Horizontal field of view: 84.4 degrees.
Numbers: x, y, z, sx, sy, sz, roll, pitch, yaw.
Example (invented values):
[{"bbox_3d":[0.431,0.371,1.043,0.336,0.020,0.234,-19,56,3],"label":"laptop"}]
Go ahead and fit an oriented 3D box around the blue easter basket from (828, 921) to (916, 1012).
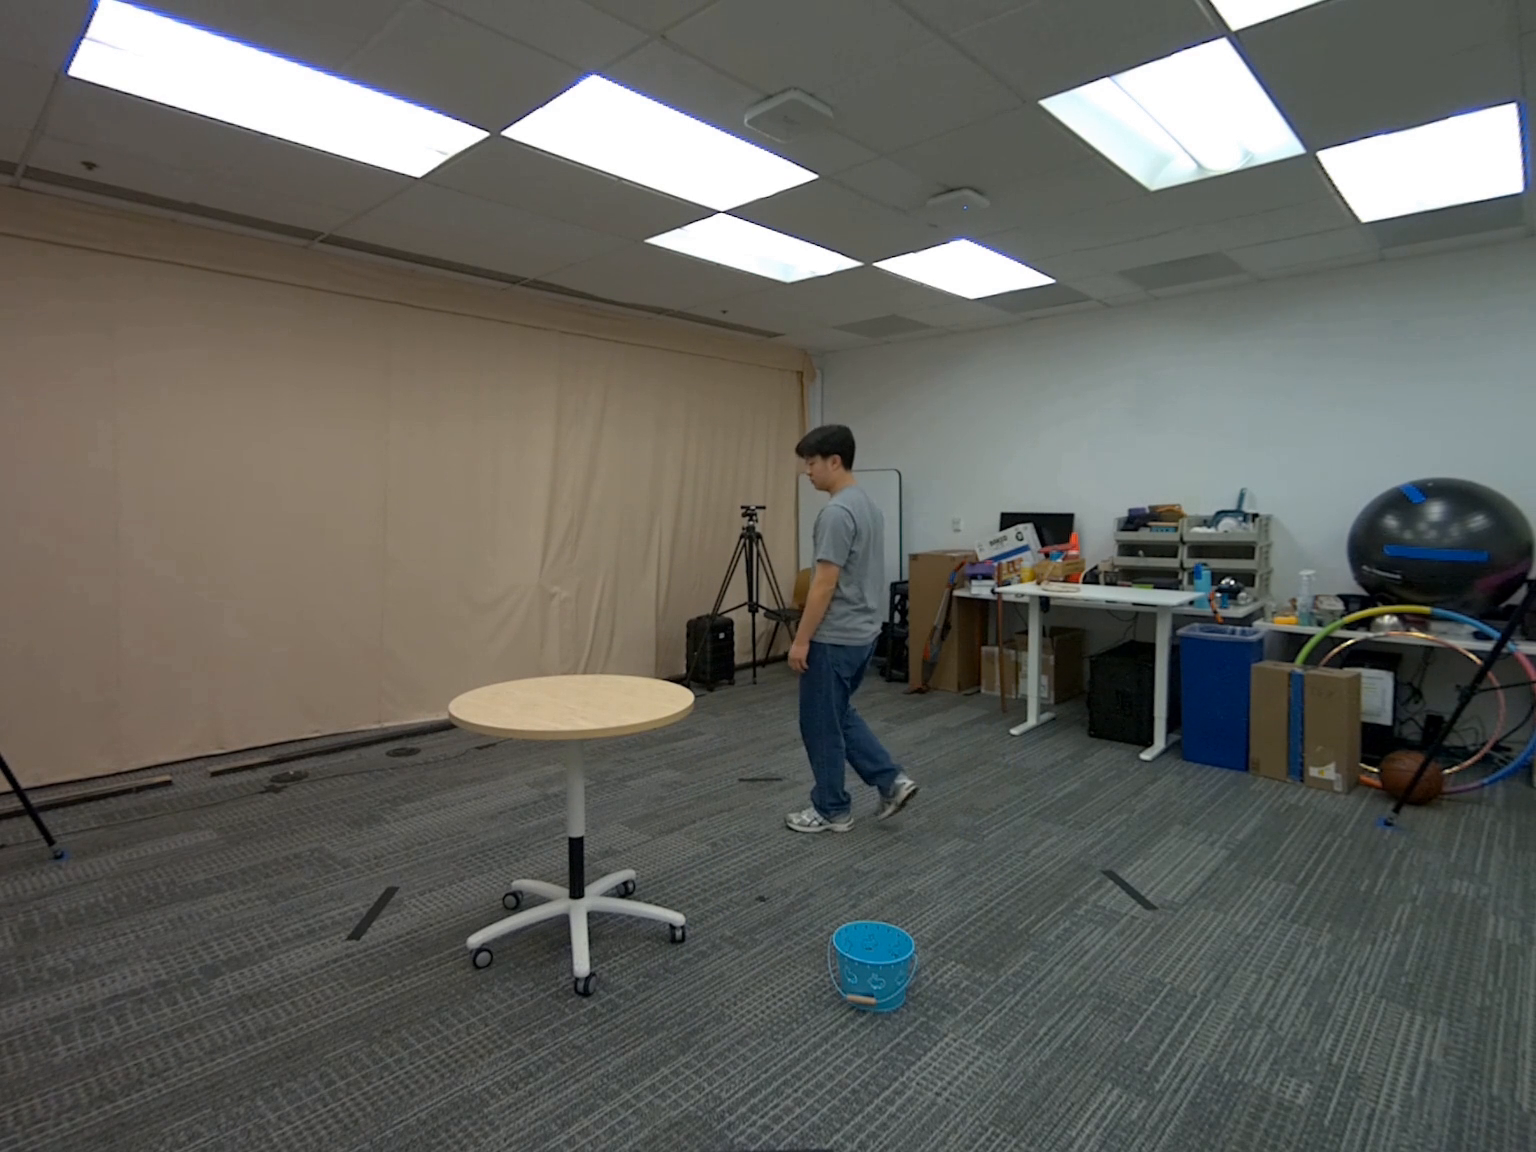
[{"bbox_3d":[0.295,1.109,2.400,0.243,0.155,0.244,0,4,-2],"label":"blue easter basket"}]
